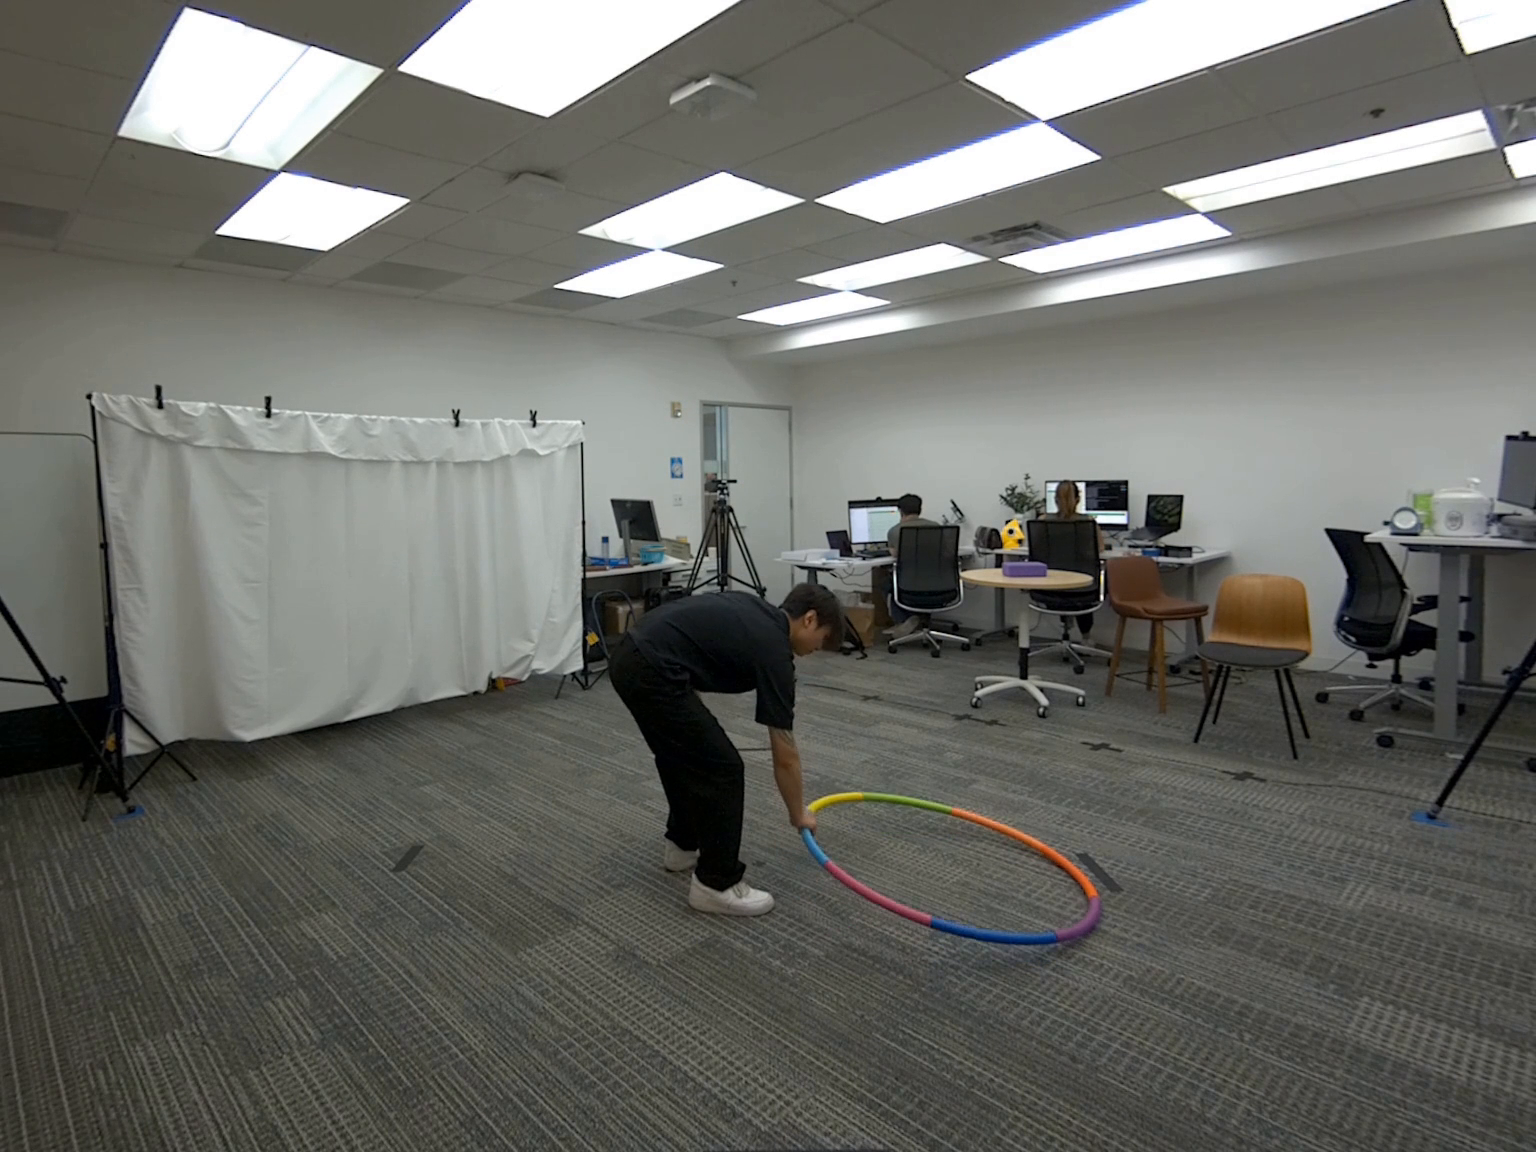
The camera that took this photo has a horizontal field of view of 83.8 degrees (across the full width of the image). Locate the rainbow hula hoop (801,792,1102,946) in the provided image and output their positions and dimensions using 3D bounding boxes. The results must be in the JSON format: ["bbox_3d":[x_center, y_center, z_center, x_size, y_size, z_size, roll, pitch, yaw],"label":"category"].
[{"bbox_3d":[0.610,0.950,2.913,0.977,0.035,0.985,10,7,-3],"label":"rainbow hula hoop"}]
